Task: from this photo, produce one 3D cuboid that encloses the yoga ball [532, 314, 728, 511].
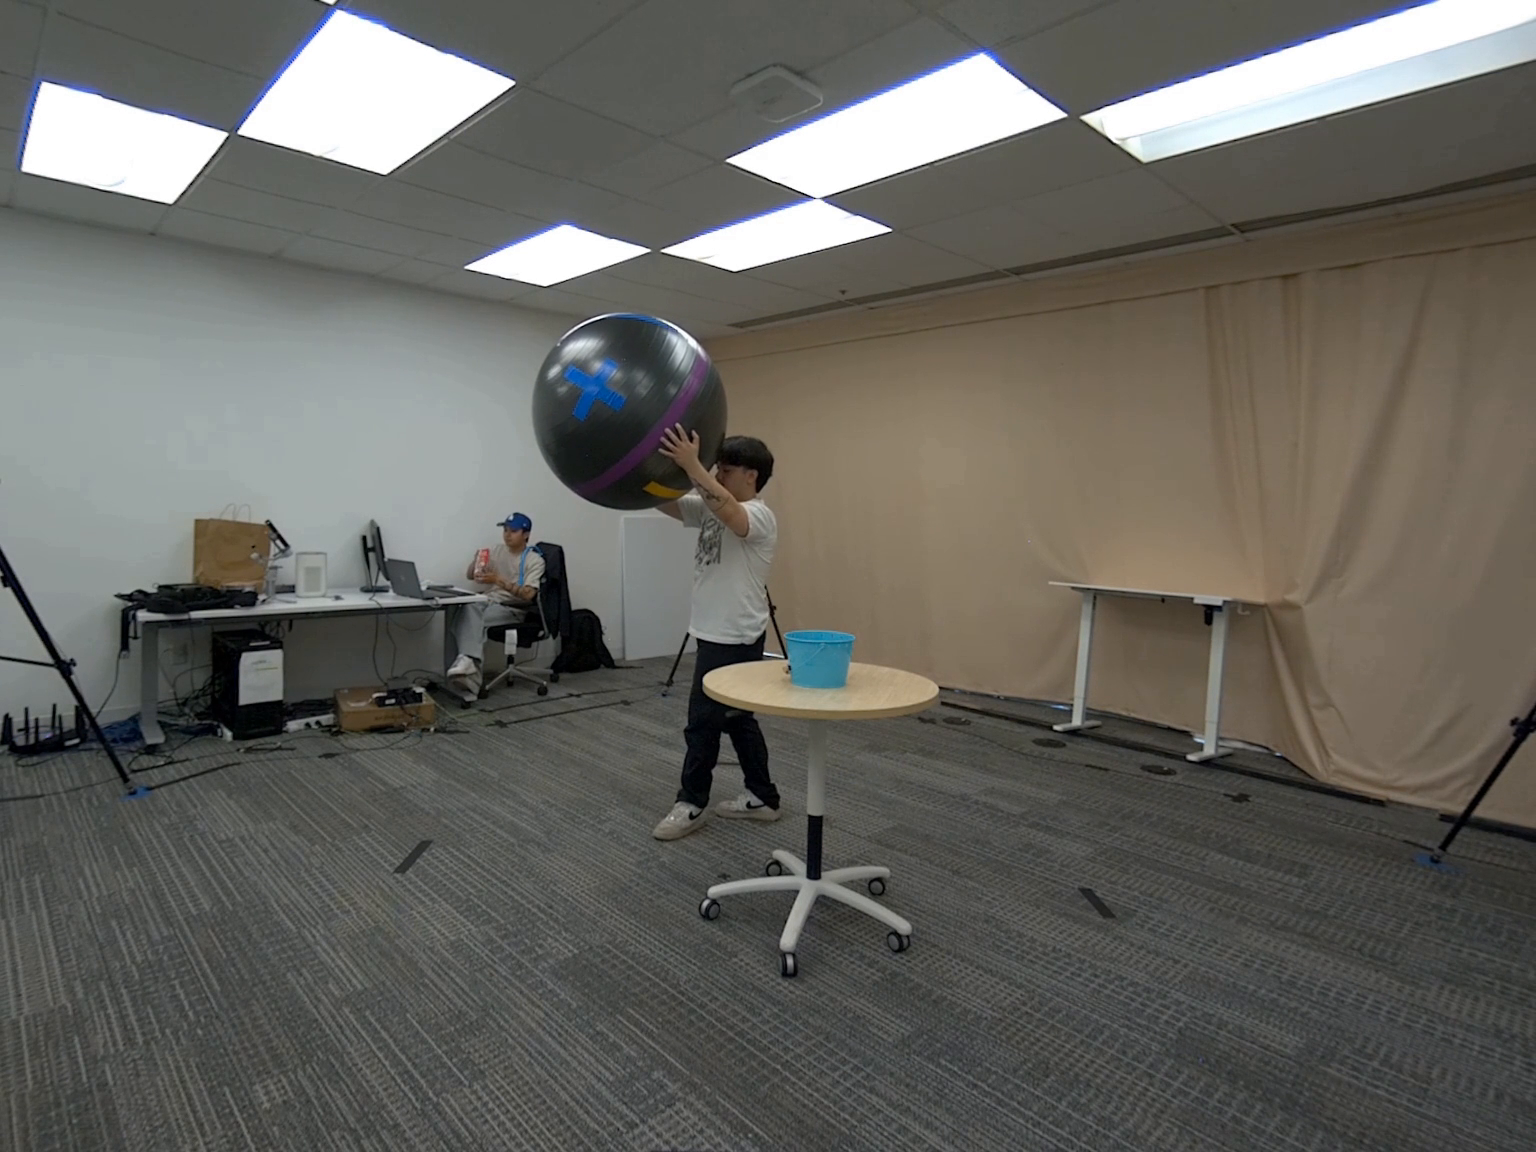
[{"bbox_3d":[-0.544,-0.633,3.286,0.757,0.756,0.760,1,4,-1],"label":"yoga ball"}]
